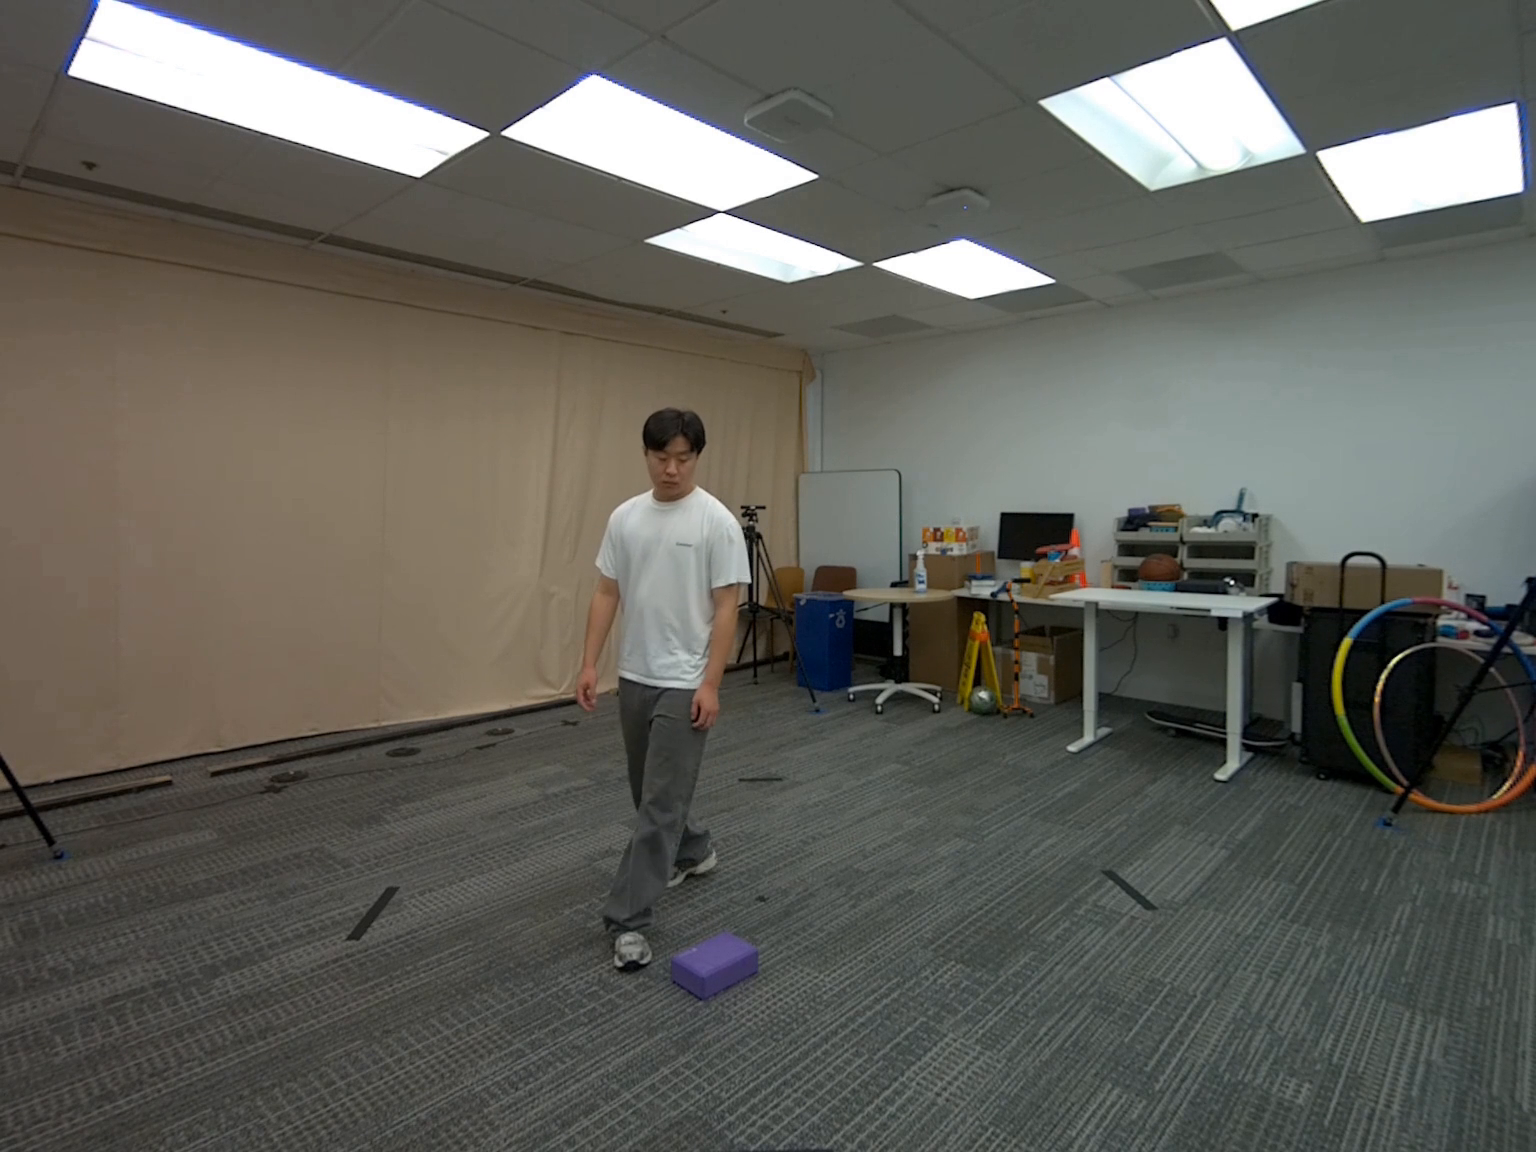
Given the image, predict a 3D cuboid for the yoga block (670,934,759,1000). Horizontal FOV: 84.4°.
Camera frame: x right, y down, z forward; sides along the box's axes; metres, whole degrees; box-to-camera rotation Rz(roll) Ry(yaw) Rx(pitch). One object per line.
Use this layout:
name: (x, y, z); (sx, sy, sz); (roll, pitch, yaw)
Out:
yoga block: (-0.149, 1.150, 2.486); (0.222, 0.076, 0.154); (-5, 7, -44)
